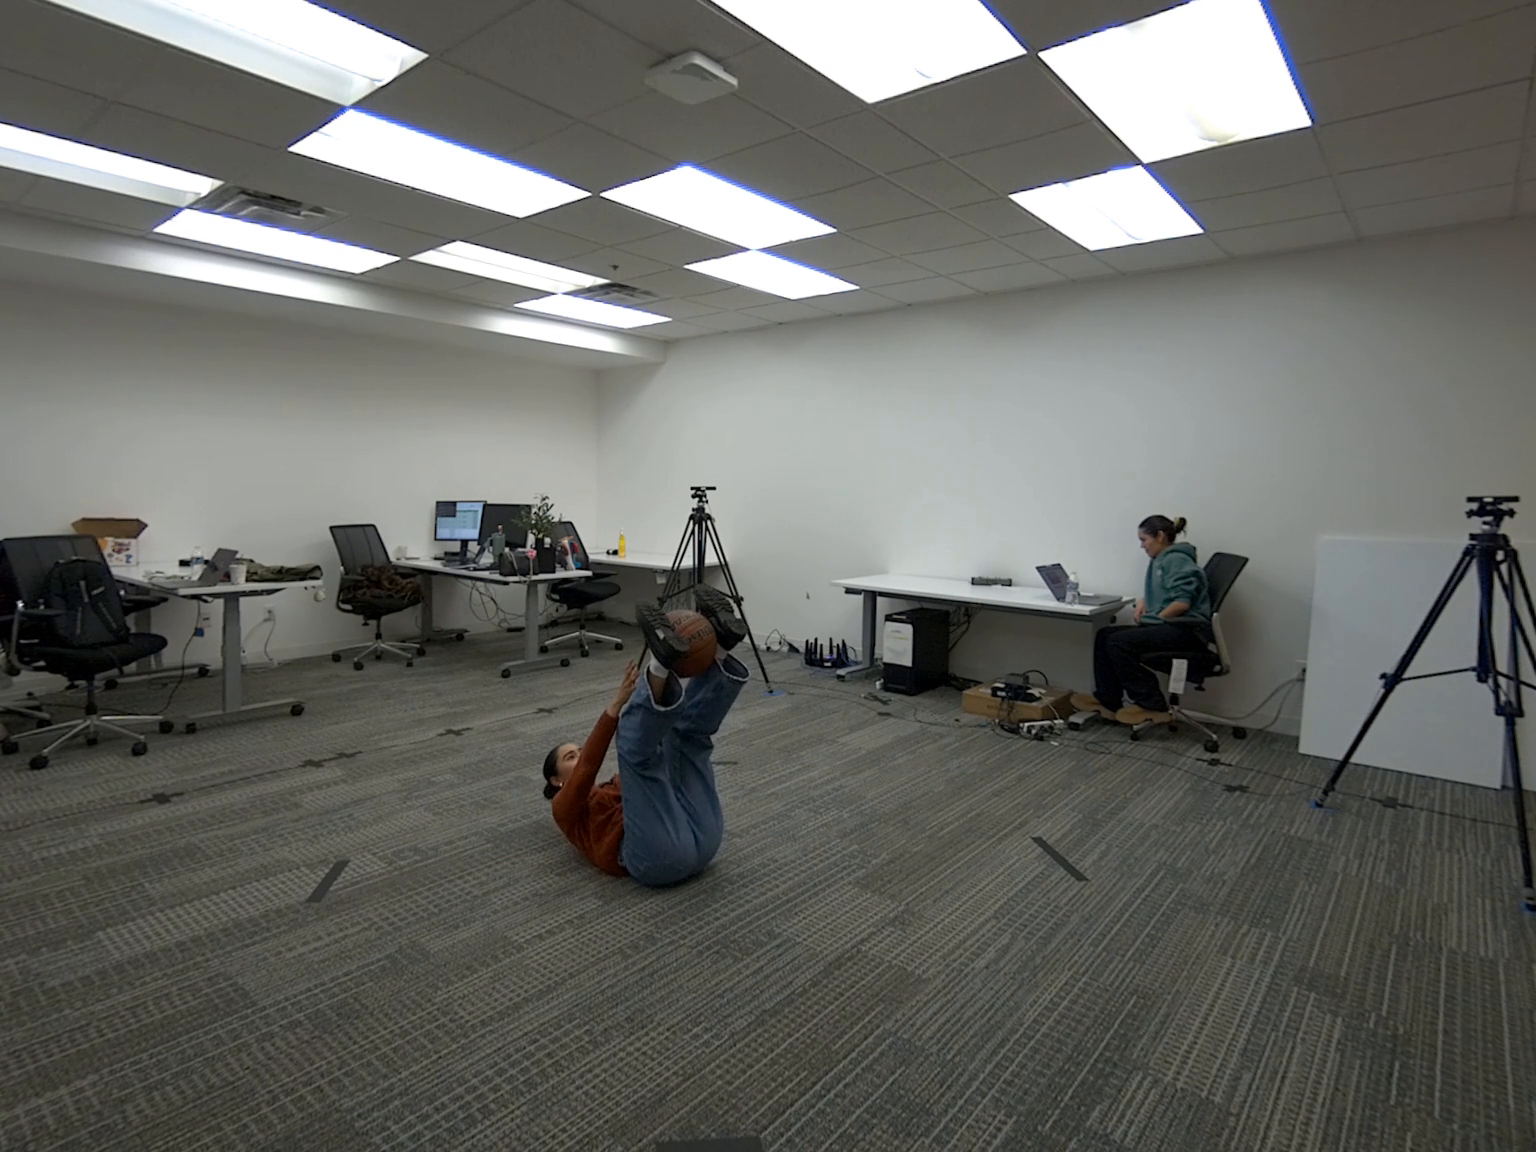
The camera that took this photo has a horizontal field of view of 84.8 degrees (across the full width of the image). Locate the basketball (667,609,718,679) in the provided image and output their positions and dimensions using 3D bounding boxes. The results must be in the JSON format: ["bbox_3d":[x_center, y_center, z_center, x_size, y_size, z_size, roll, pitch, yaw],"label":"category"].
[{"bbox_3d":[-0.298,0.235,2.951,0.236,0.235,0.237,-3,3,-2],"label":"basketball"}]
